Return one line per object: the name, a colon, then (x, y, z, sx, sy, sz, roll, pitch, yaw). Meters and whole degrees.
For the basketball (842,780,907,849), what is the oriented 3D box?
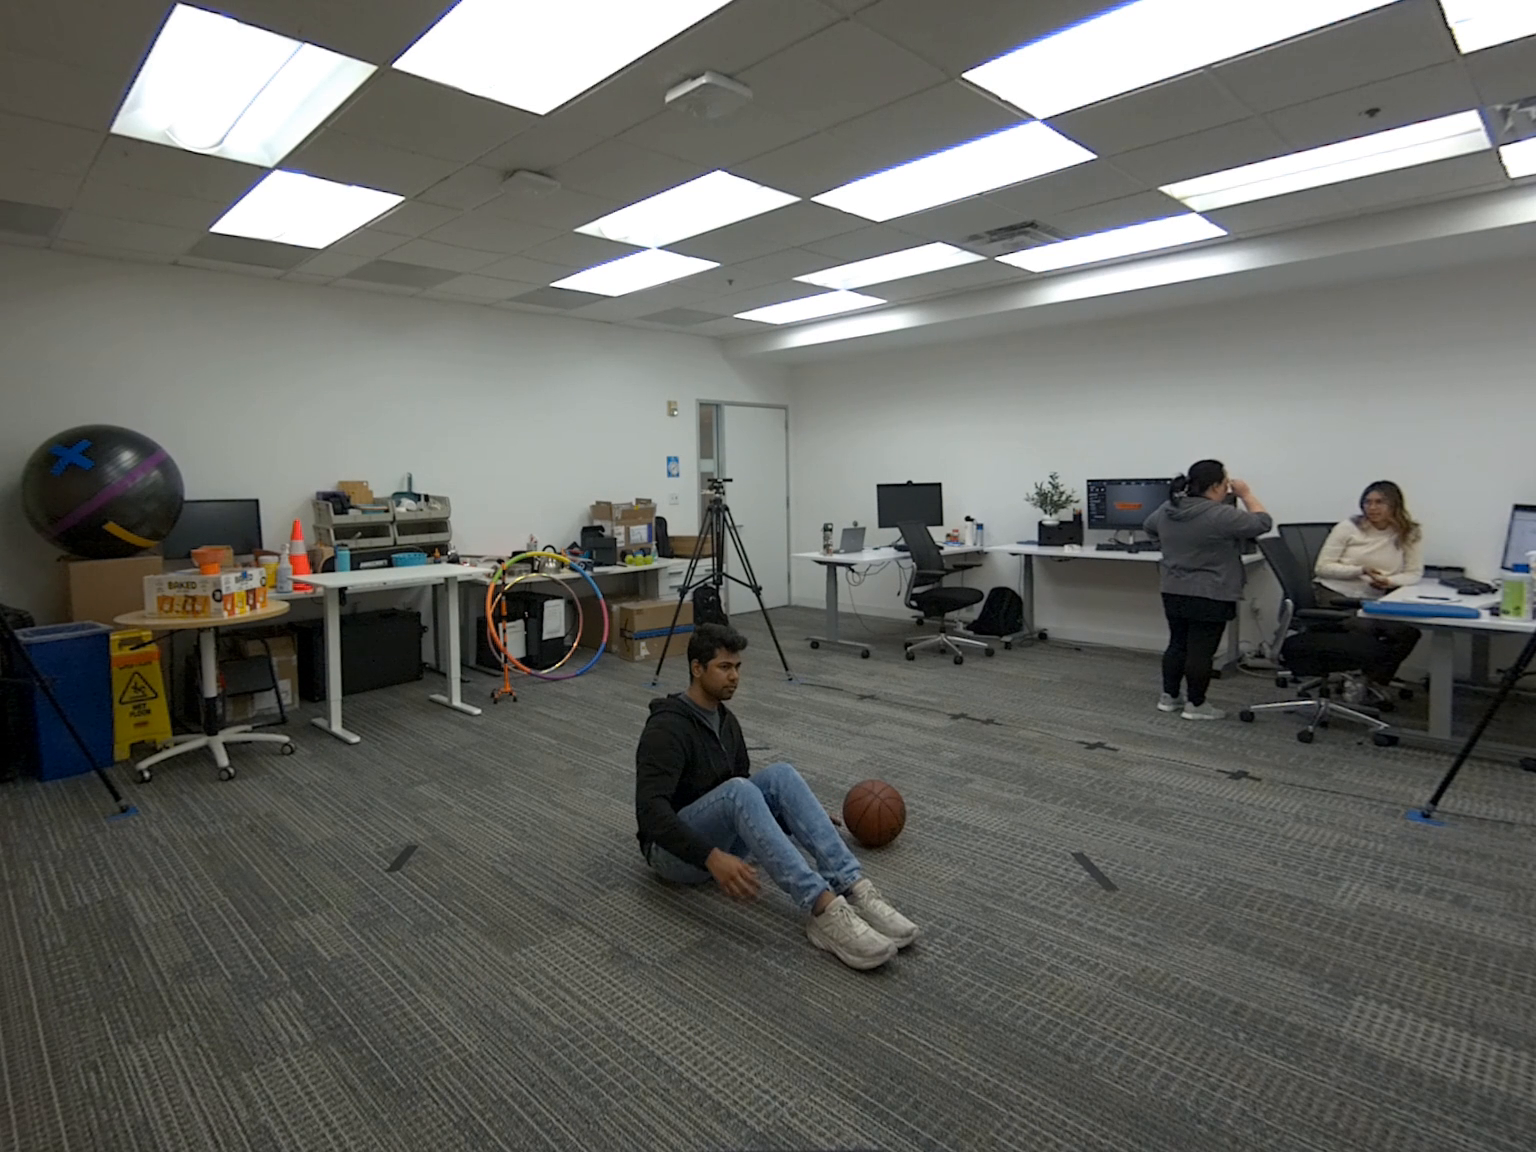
basketball: (0.402, 0.892, 3.251, 0.236, 0.235, 0.237, -1, 5, -2)
